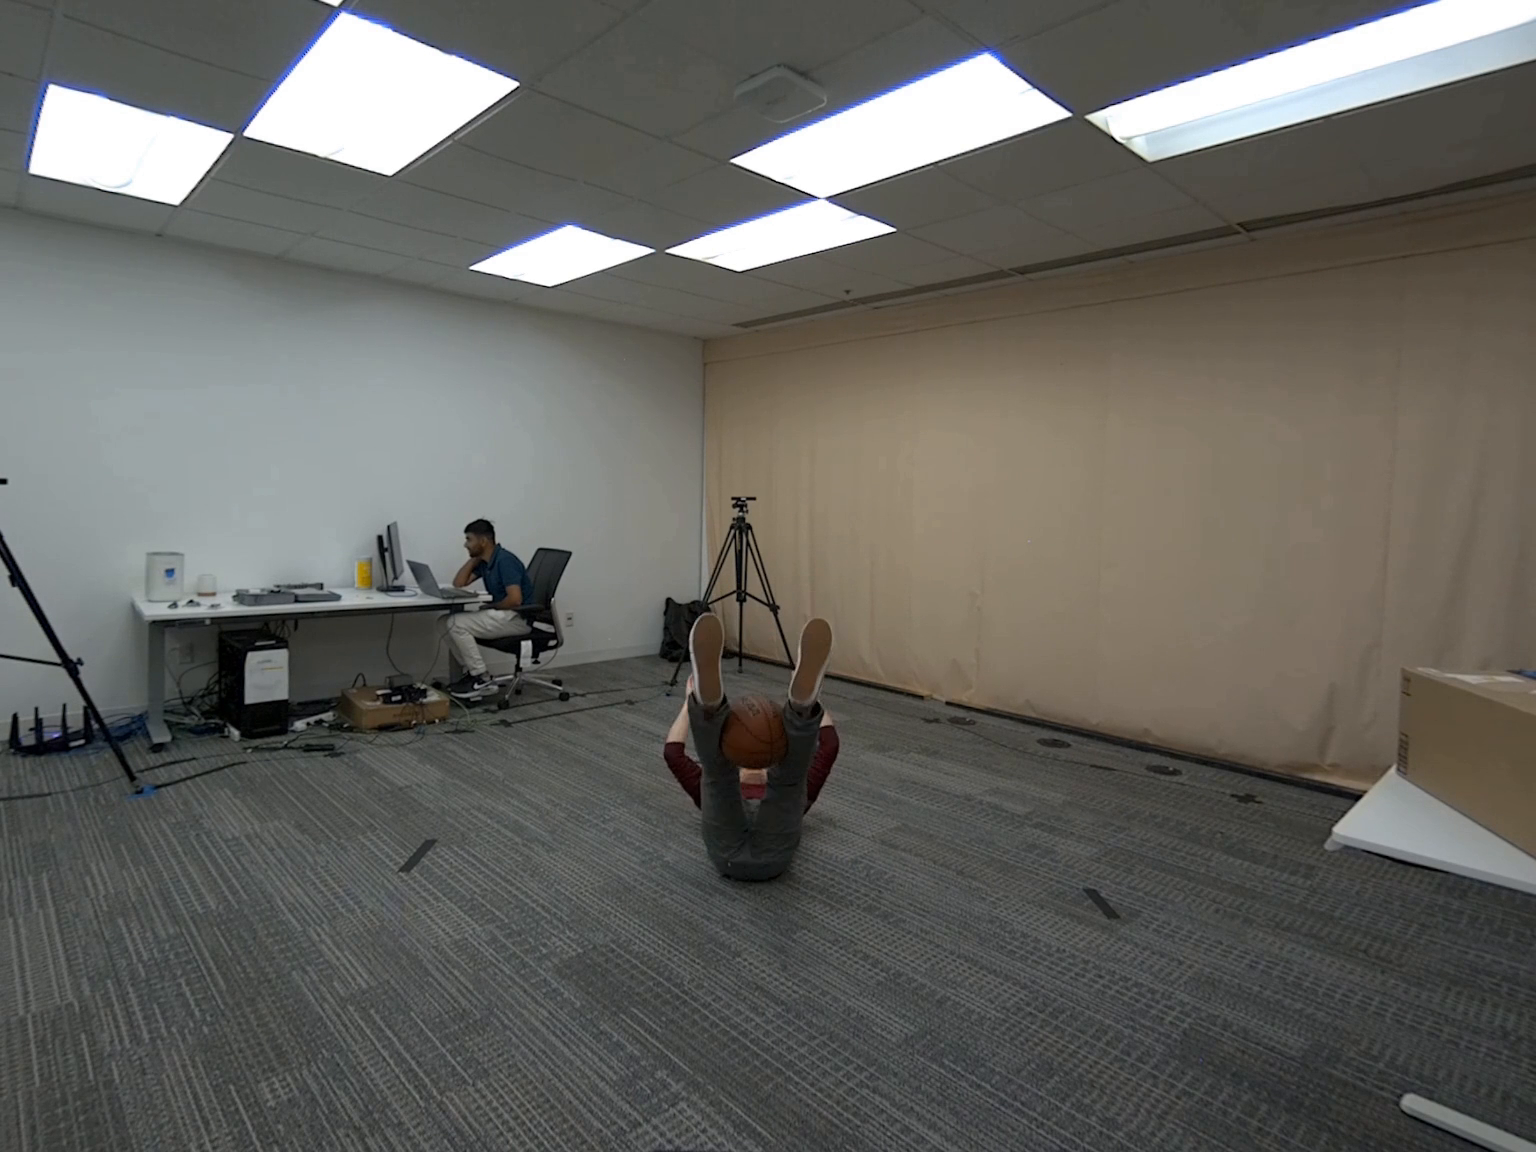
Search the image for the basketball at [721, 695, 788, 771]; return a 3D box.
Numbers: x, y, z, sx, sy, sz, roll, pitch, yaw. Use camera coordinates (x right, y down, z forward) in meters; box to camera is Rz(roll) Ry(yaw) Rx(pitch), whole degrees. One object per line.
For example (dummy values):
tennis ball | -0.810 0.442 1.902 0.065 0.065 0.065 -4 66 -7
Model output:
basketball | -0.051 0.498 2.722 0.236 0.235 0.237 1 4 -1
